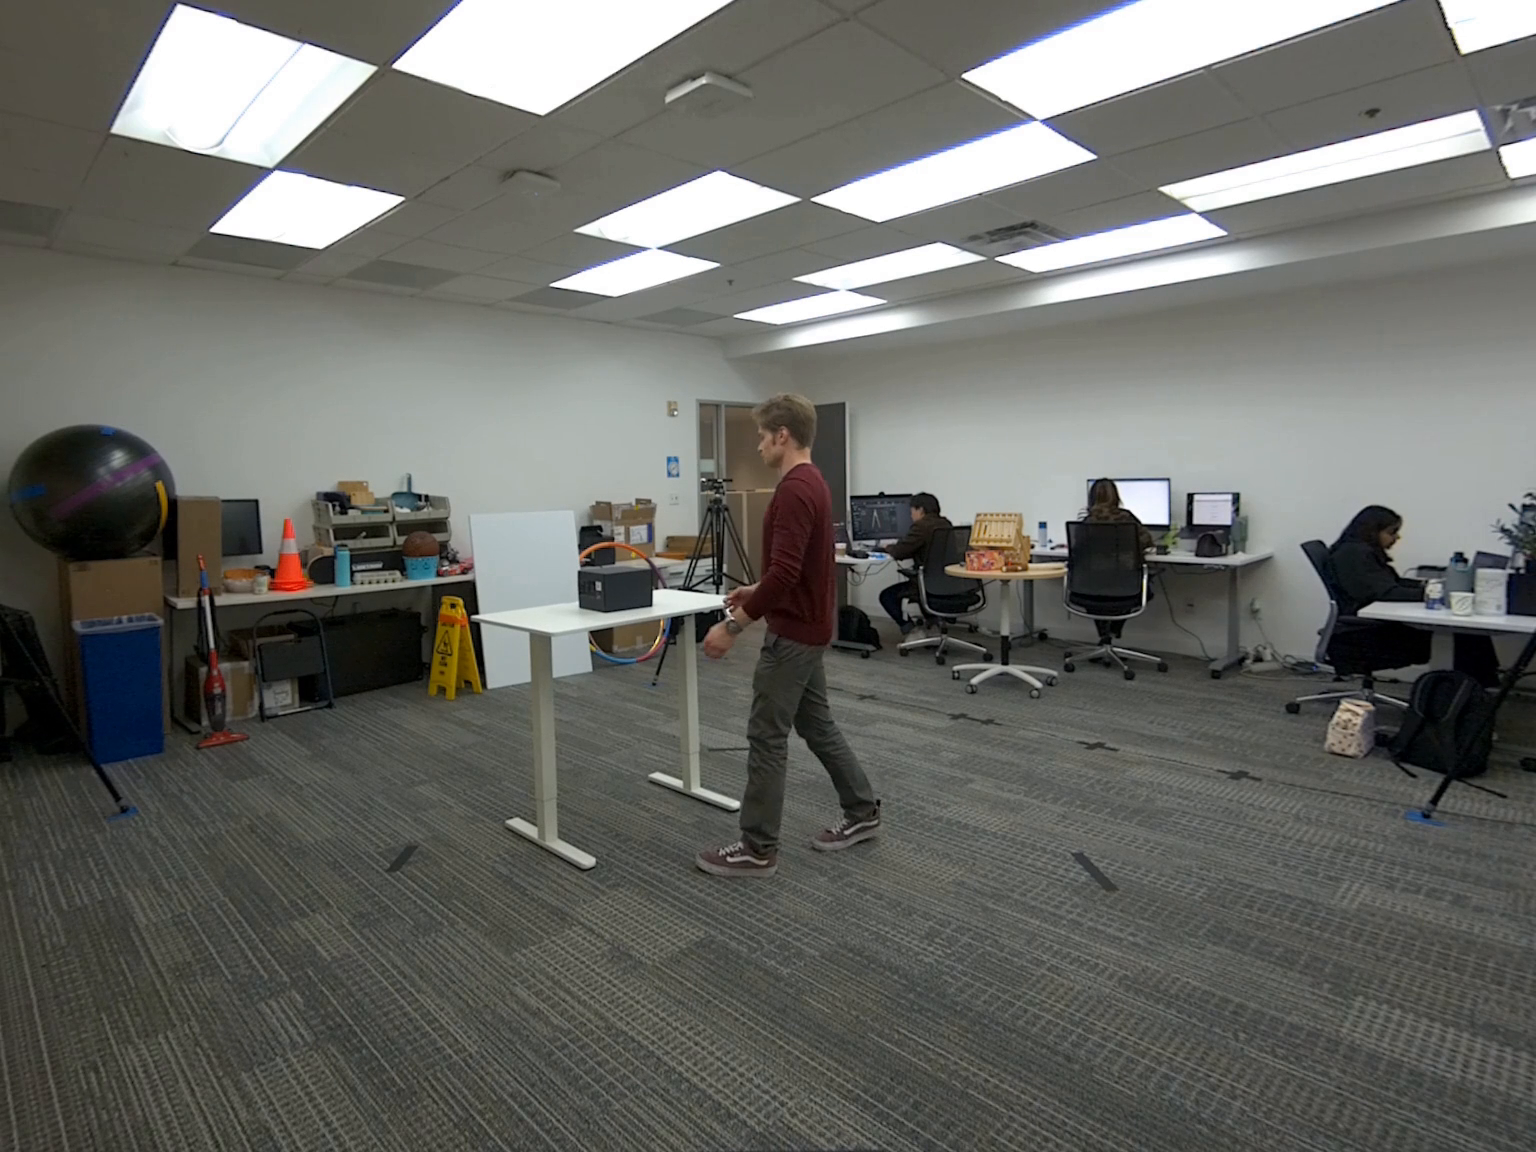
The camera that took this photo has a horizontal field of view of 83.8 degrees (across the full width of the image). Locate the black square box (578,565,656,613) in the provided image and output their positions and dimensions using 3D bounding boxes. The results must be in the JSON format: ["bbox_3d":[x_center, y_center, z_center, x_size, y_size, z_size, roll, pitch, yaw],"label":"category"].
[{"bbox_3d":[-0.623,0.048,3.496,0.222,0.155,0.223,-6,6,-40],"label":"black square box"}]
